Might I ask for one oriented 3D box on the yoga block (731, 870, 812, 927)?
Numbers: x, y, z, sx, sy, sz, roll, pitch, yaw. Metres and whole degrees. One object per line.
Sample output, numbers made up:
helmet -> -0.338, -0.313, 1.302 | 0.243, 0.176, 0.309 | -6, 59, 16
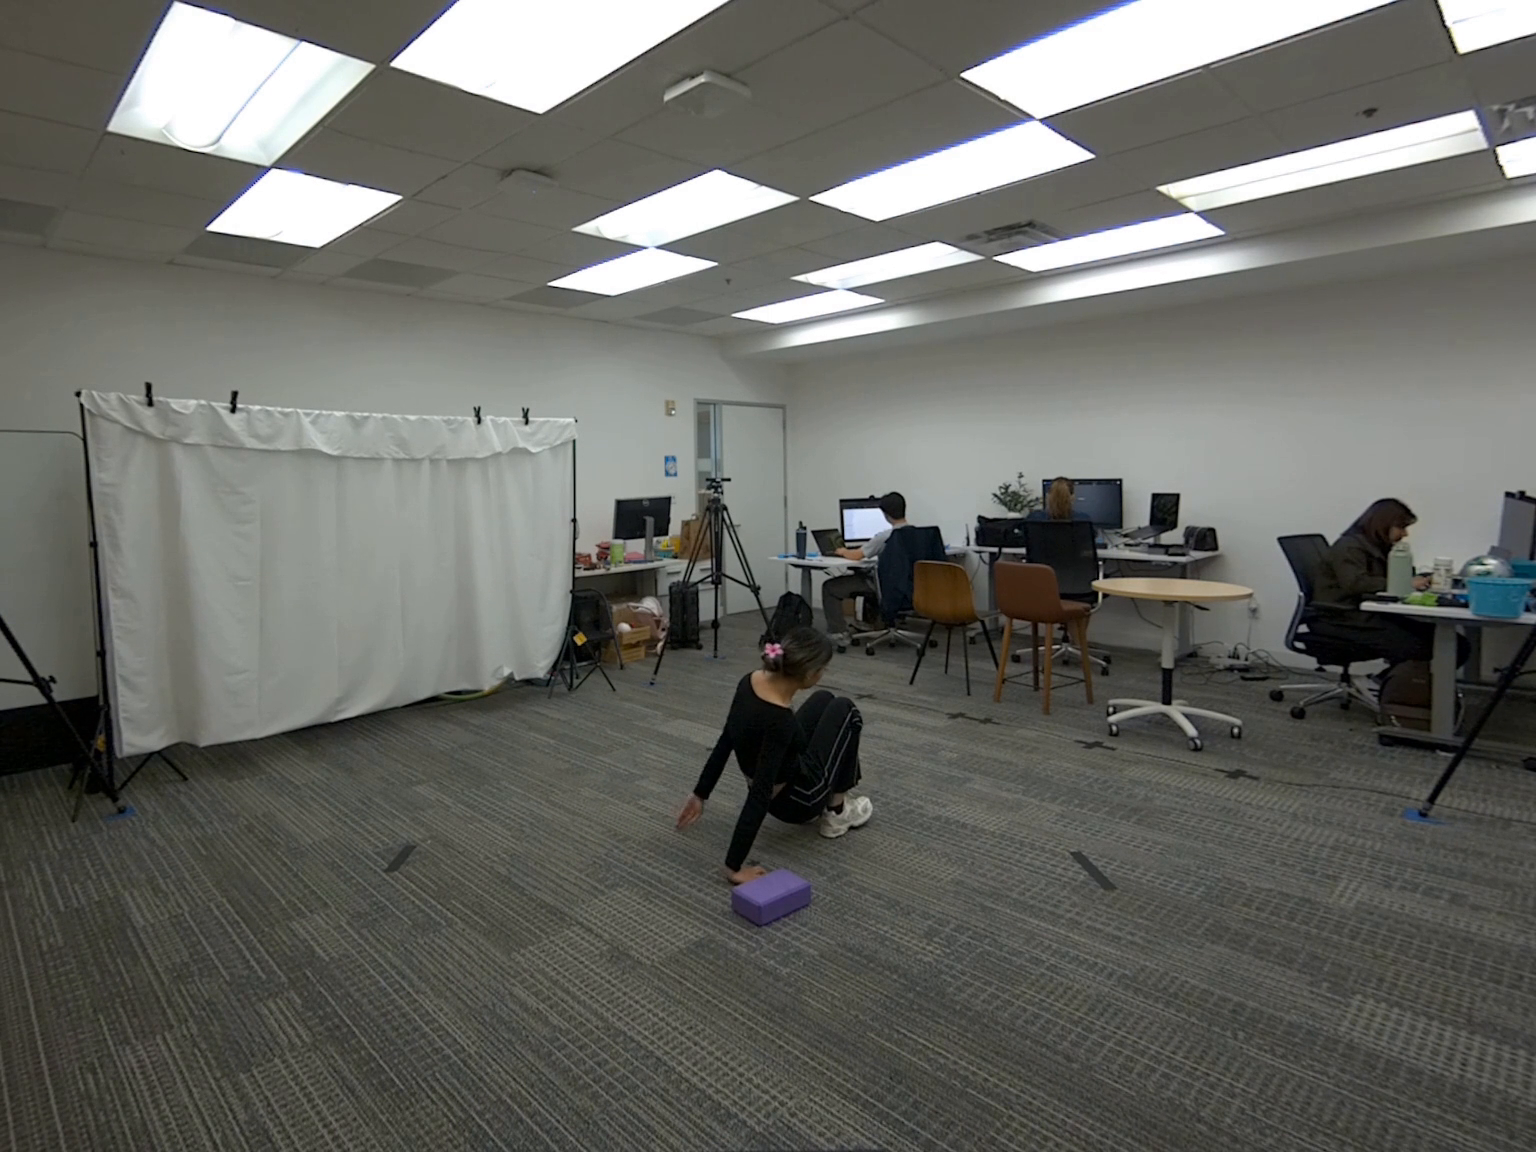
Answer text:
yoga block -> 0.012, 1.045, 2.776 | 0.223, 0.076, 0.153 | -7, 8, -40
